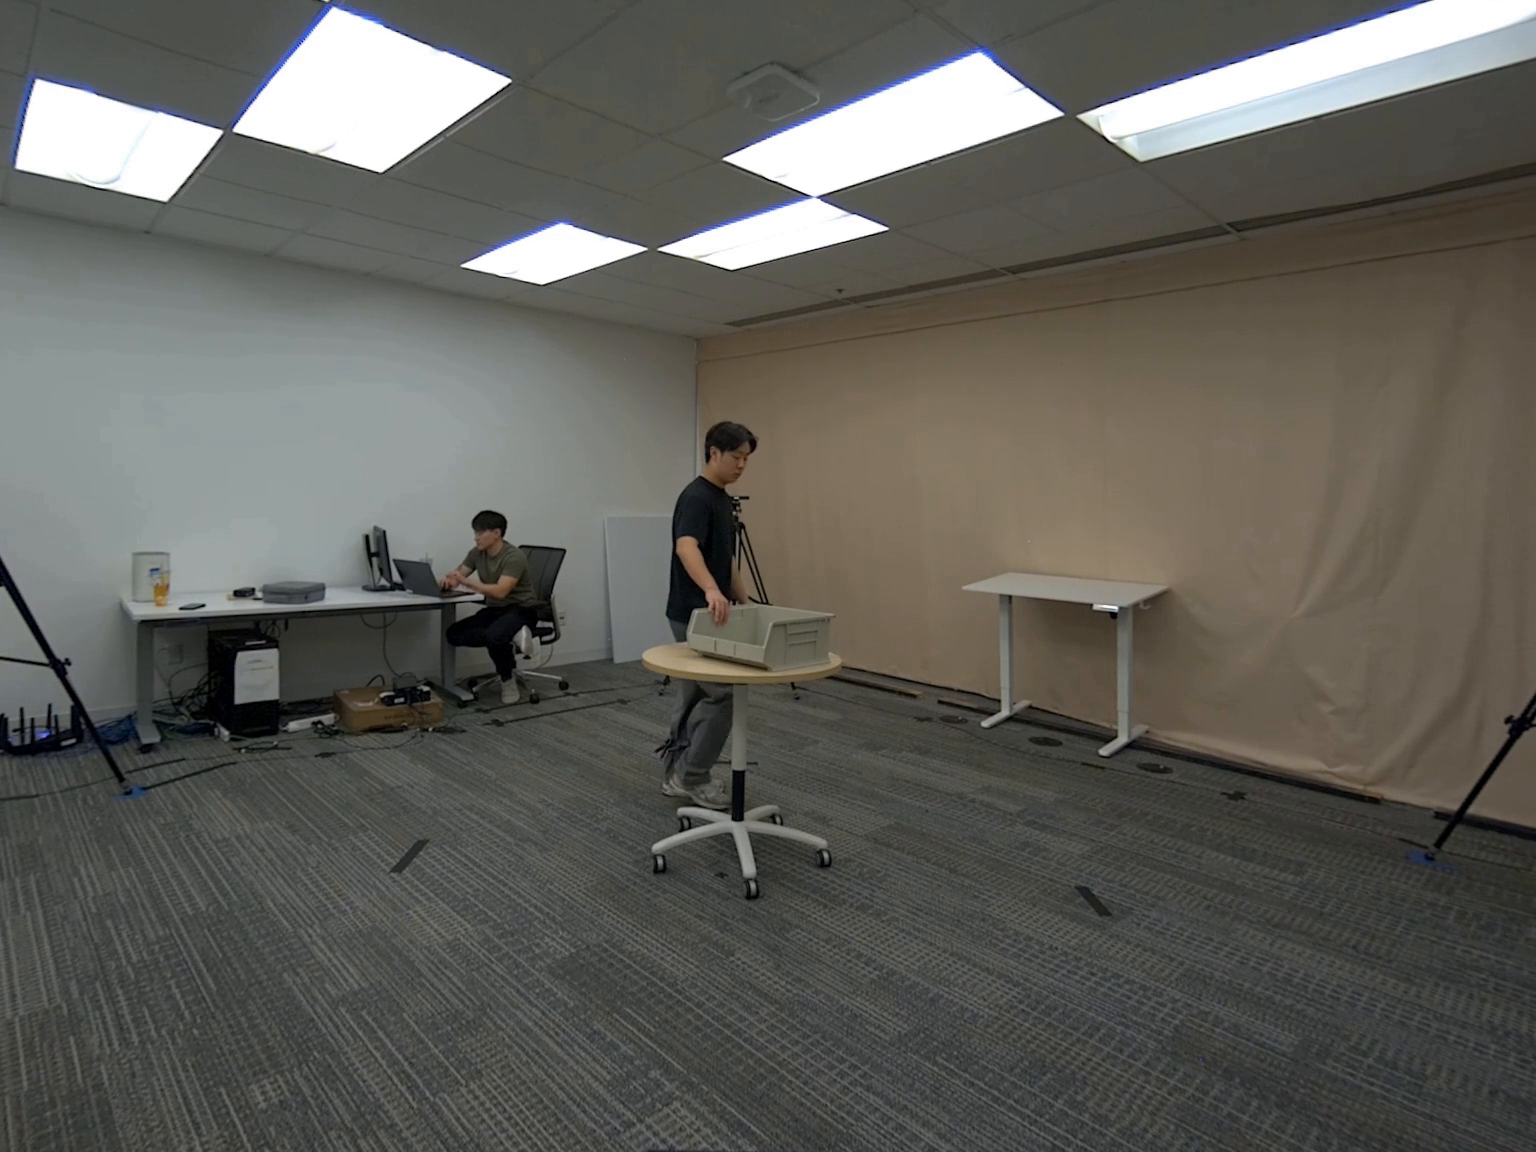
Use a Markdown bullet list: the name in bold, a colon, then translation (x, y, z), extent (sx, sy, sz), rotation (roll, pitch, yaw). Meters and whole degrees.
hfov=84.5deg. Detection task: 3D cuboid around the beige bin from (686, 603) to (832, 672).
- **beige bin**: translation (-0.038, 0.231, 3.174), extent (0.368, 0.189, 0.433), rotation (0, 4, -45)
